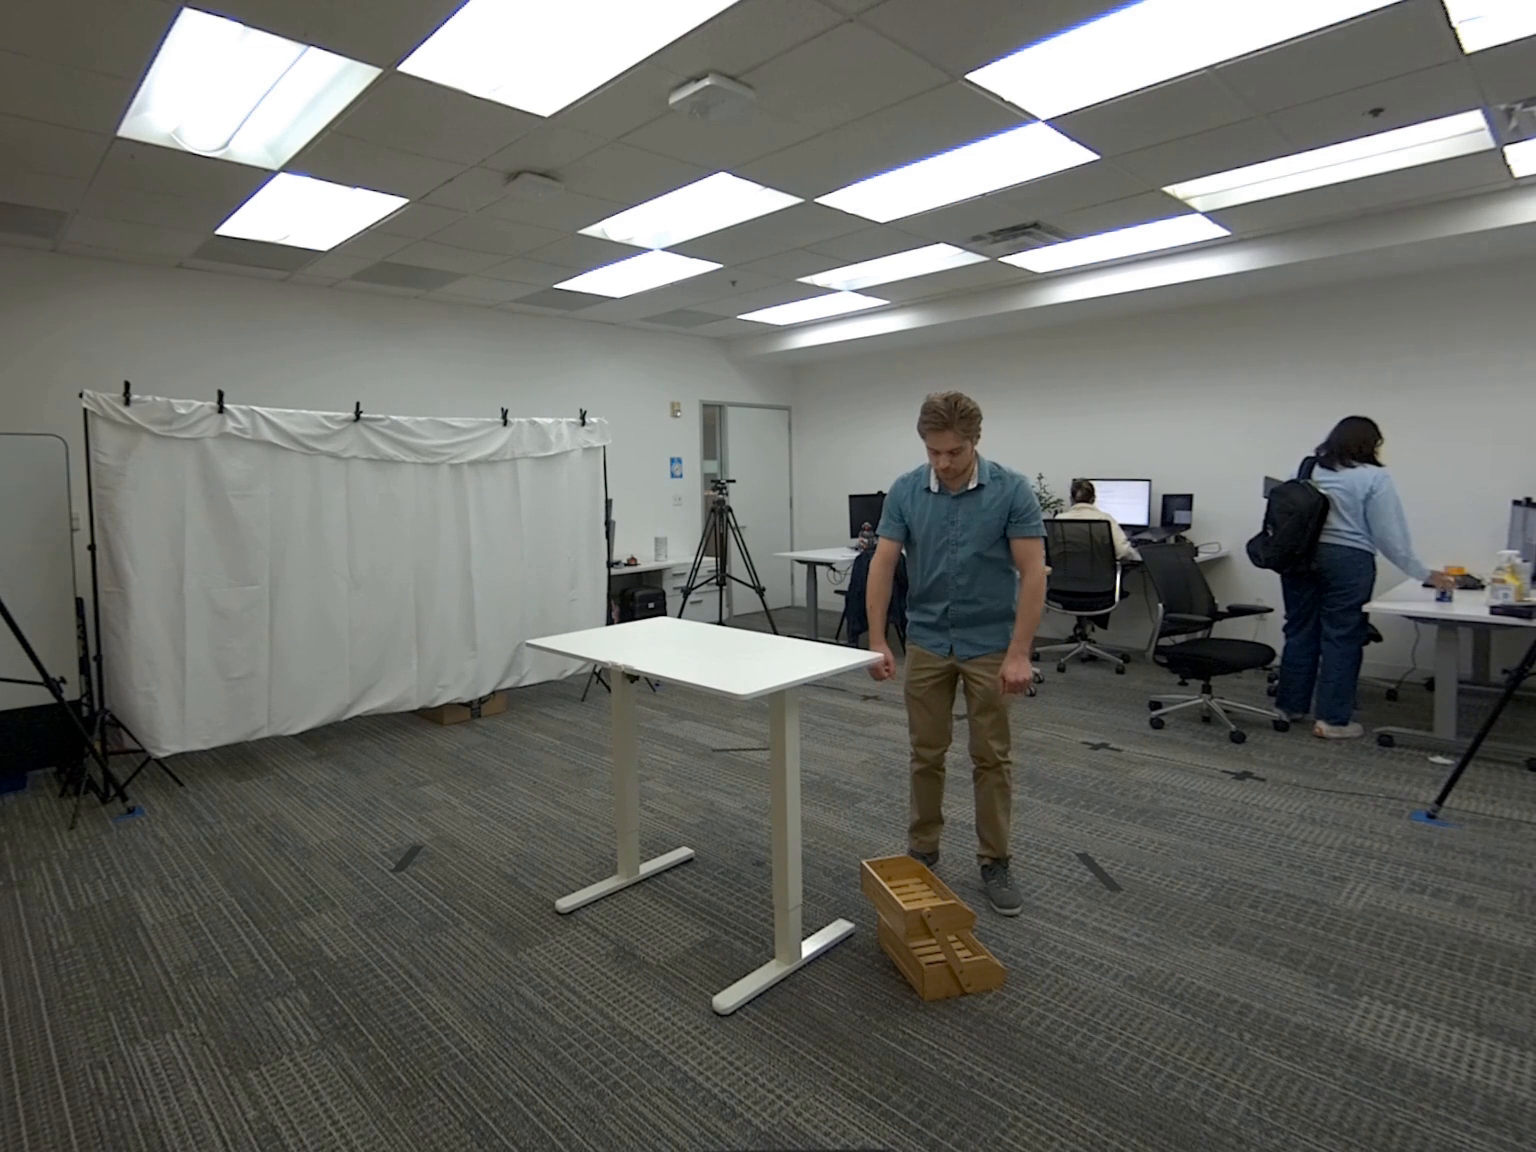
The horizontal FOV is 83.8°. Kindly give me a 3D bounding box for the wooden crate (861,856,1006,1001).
[{"bbox_3d":[0.473,0.979,2.437,0.298,0.272,0.331,-3,6,-16],"label":"wooden crate"}]
